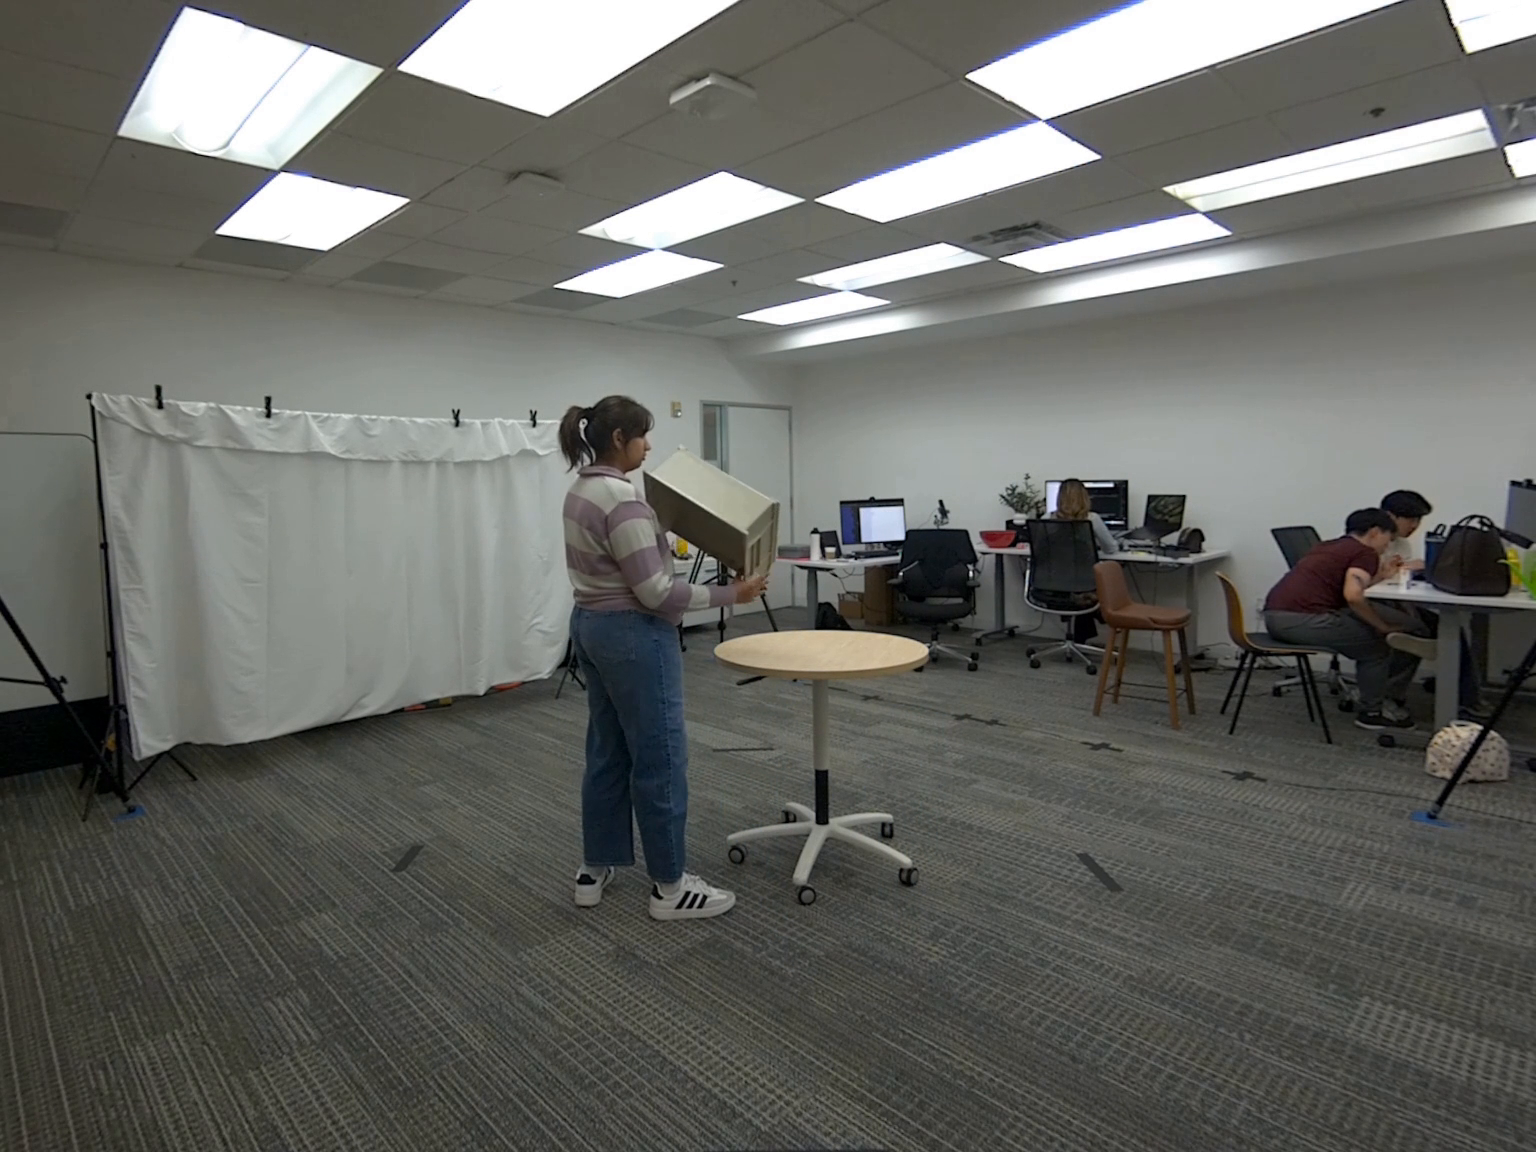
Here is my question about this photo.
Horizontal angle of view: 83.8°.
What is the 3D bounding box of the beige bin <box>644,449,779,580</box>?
[{"bbox_3d":[-0.184,-0.168,2.852,0.435,0.367,0.188,32,56,23],"label":"beige bin"}]
